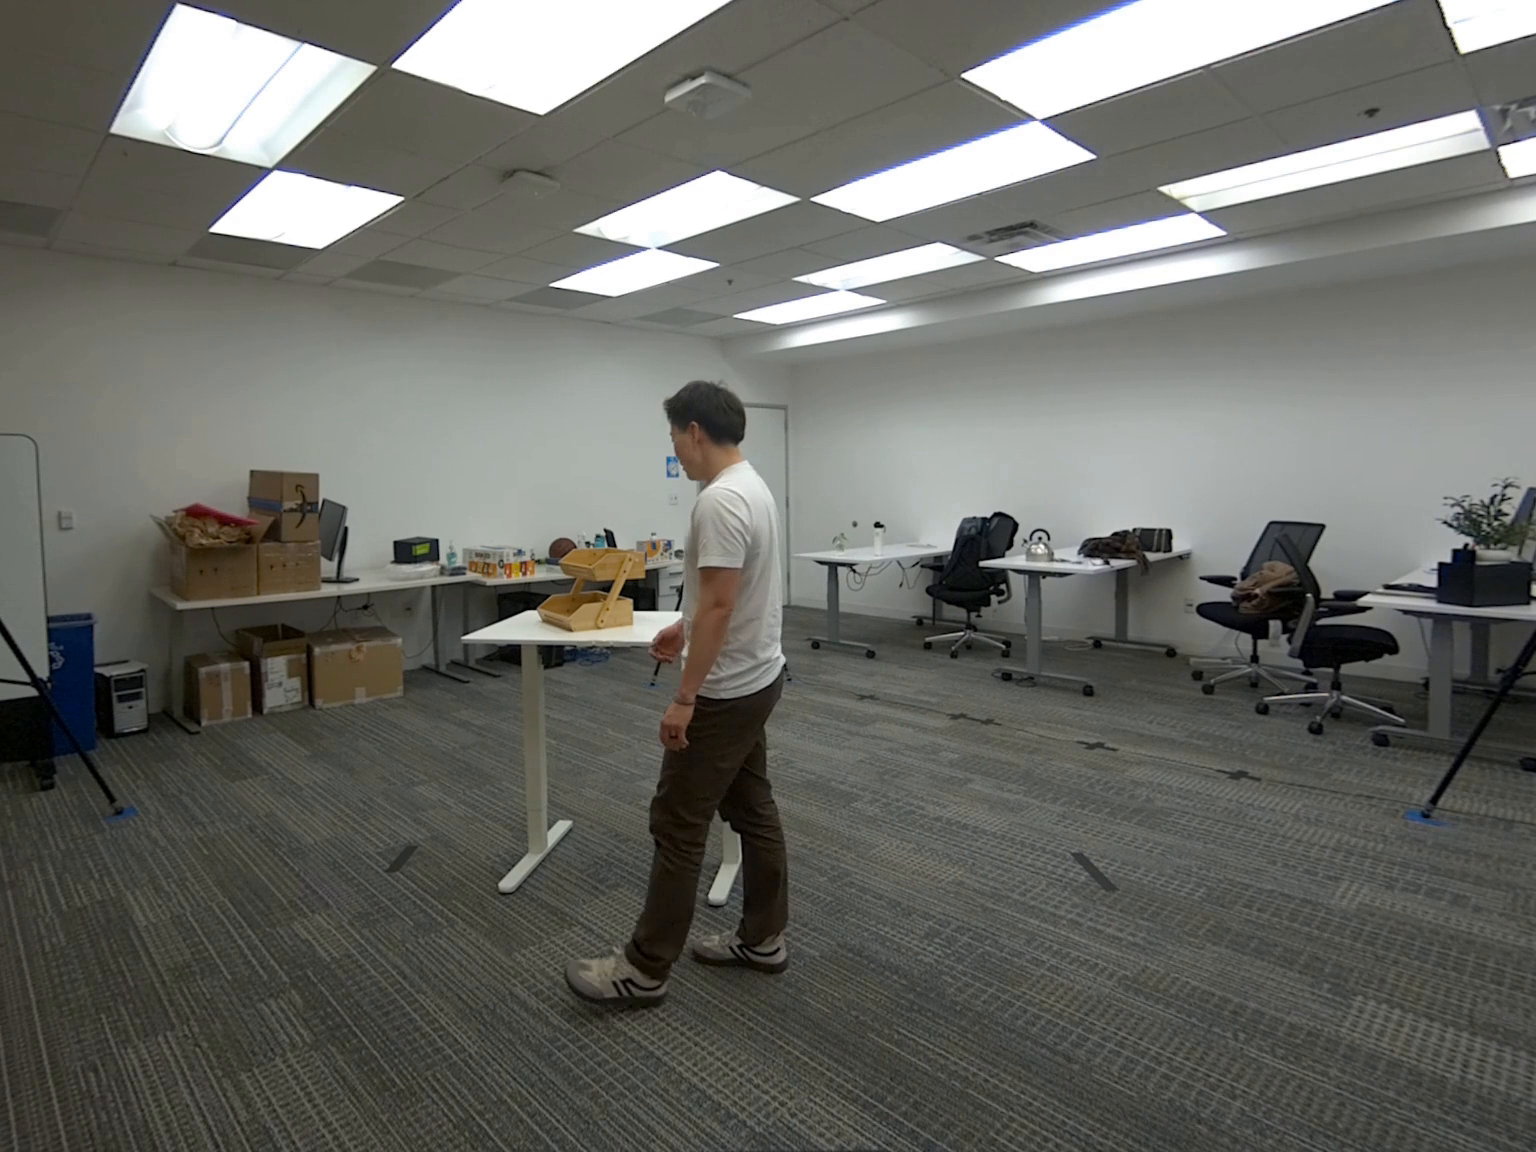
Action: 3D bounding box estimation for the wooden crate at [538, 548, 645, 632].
[{"bbox_3d":[-0.653,0.038,3.134,0.294,0.272,0.334,-3,6,-34],"label":"wooden crate"}]
